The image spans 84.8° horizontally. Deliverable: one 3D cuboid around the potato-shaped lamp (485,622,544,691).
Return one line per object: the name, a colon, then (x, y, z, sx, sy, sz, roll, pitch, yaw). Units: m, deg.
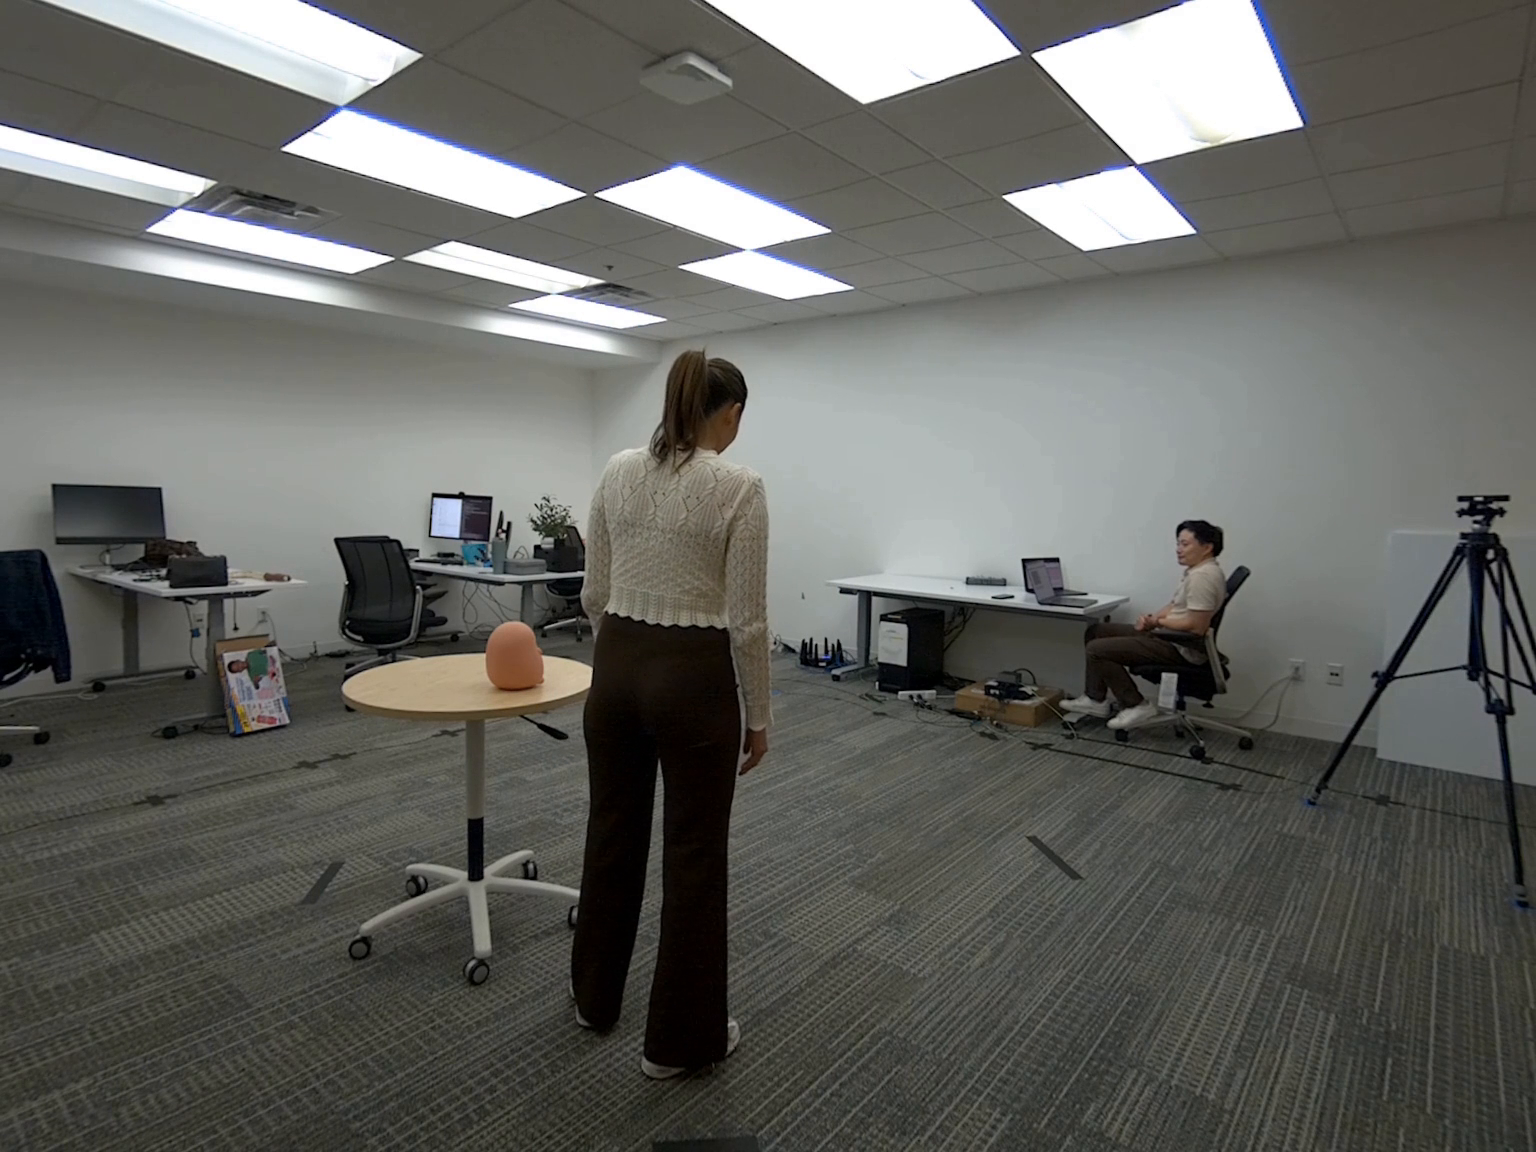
potato-shaped lamp: (-0.772, 0.234, 2.556, 0.170, 0.197, 0.167, 9, 10, 37)
